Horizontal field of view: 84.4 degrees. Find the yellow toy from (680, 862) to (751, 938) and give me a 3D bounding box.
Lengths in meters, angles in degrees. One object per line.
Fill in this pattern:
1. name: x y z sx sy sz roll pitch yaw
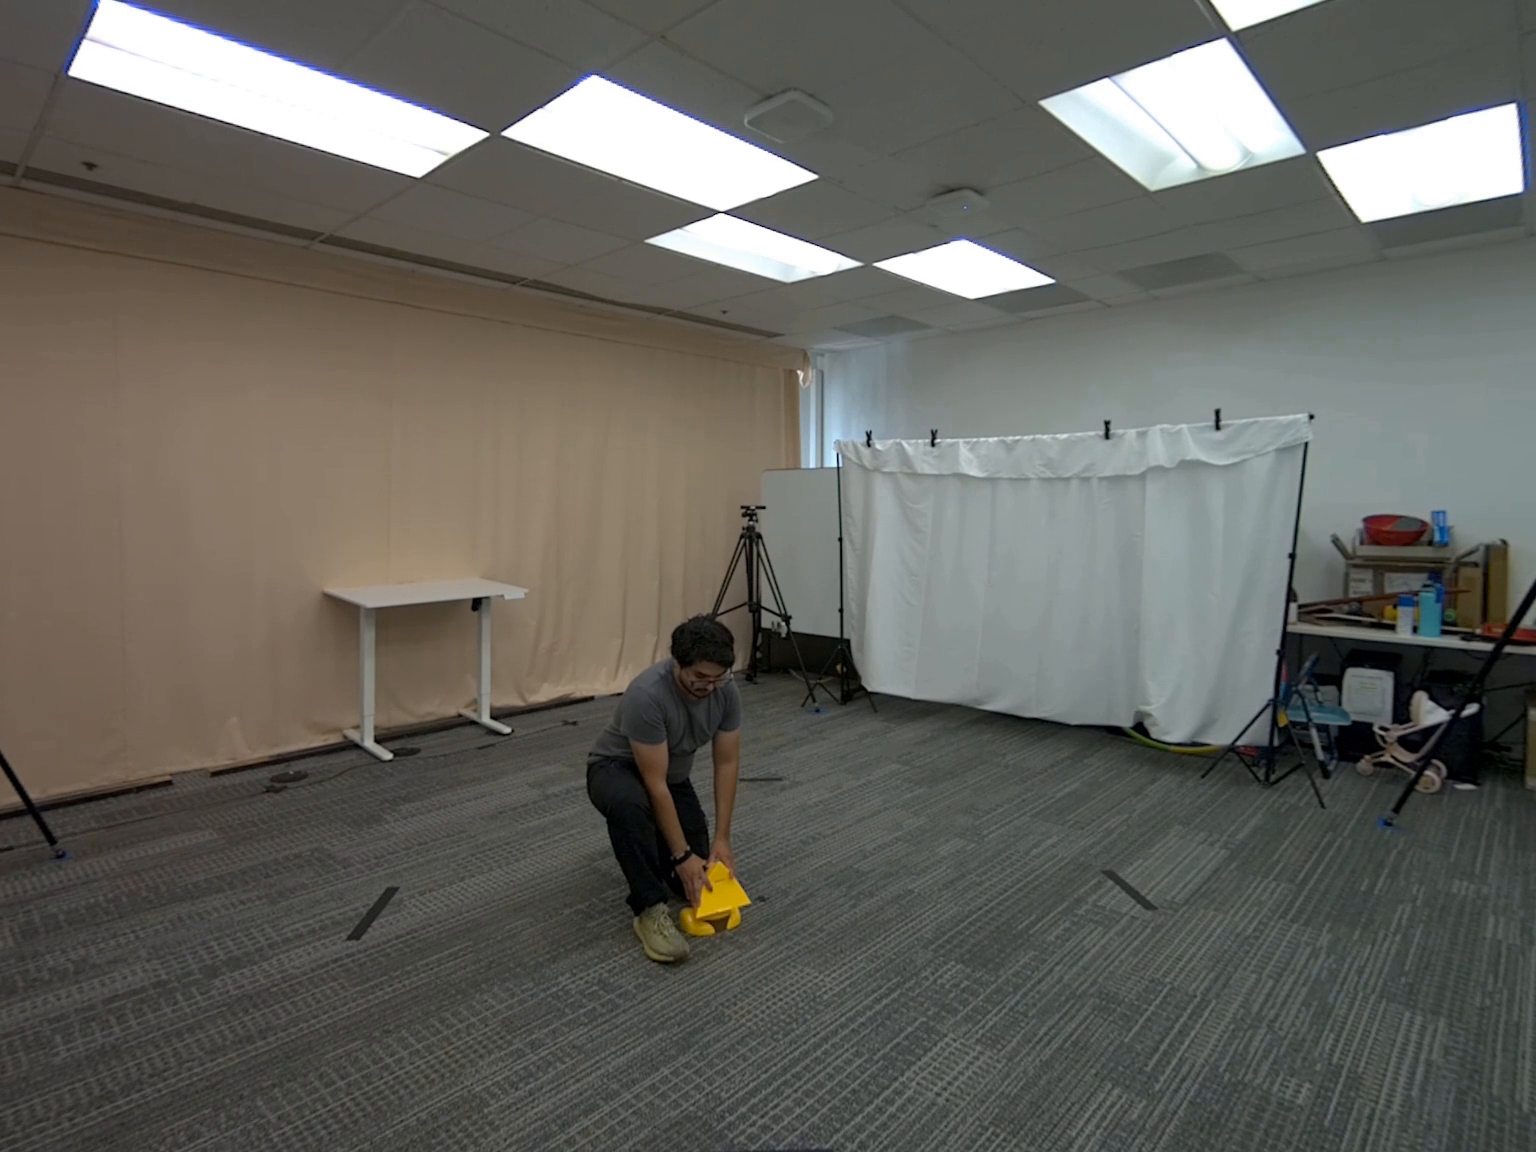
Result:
1. yellow toy: -0.191 1.048 2.809 0.199 0.230 0.199 -3 4 -31
